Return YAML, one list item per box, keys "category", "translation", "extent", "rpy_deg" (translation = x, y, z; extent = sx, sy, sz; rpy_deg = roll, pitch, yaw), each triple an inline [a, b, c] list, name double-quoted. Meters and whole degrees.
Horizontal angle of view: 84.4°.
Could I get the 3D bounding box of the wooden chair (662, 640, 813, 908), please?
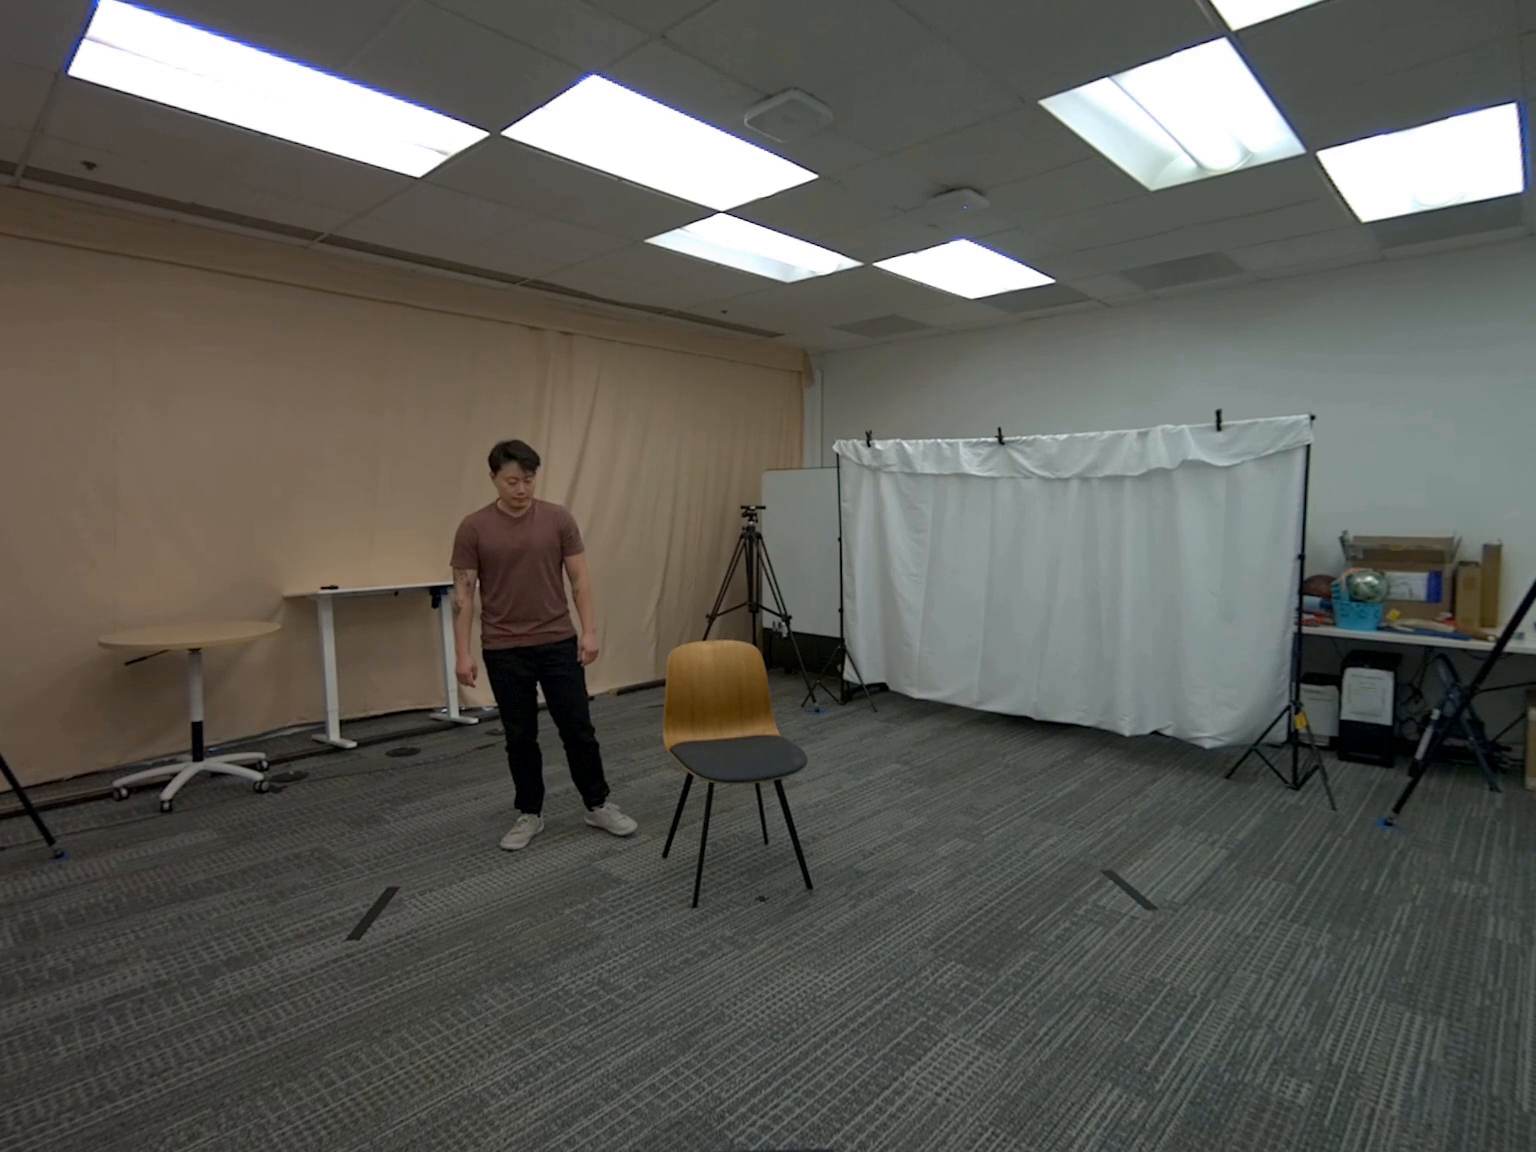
- category: "wooden chair"
  translation: [-0.128, 0.703, 3.159]
  extent: [0.469, 0.878, 0.533]
  rpy_deg: [-1, -1, -20]
